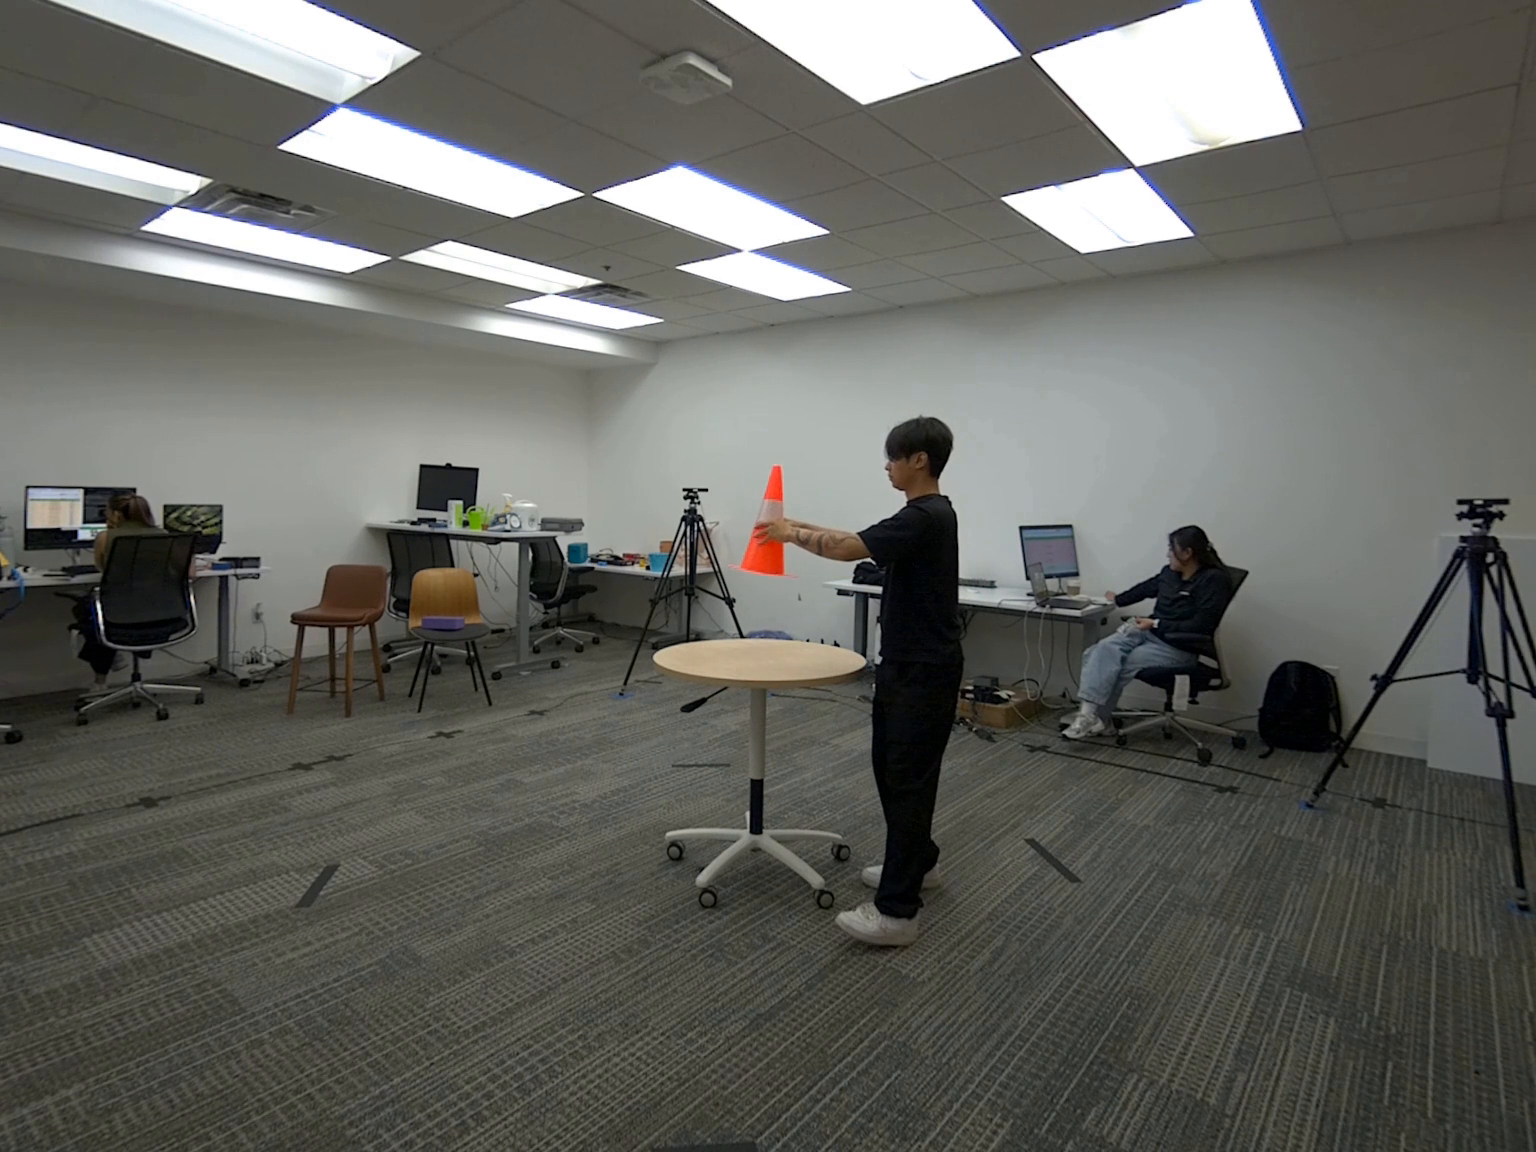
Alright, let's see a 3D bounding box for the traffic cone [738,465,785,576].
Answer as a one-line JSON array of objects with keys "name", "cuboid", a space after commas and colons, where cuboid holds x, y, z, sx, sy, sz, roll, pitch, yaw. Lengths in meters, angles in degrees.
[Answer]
[{"name": "traffic cone", "cuboid": [0.001, -0.205, 3.029, 0.209, 0.383, 0.200, 7, 3, 23]}]
